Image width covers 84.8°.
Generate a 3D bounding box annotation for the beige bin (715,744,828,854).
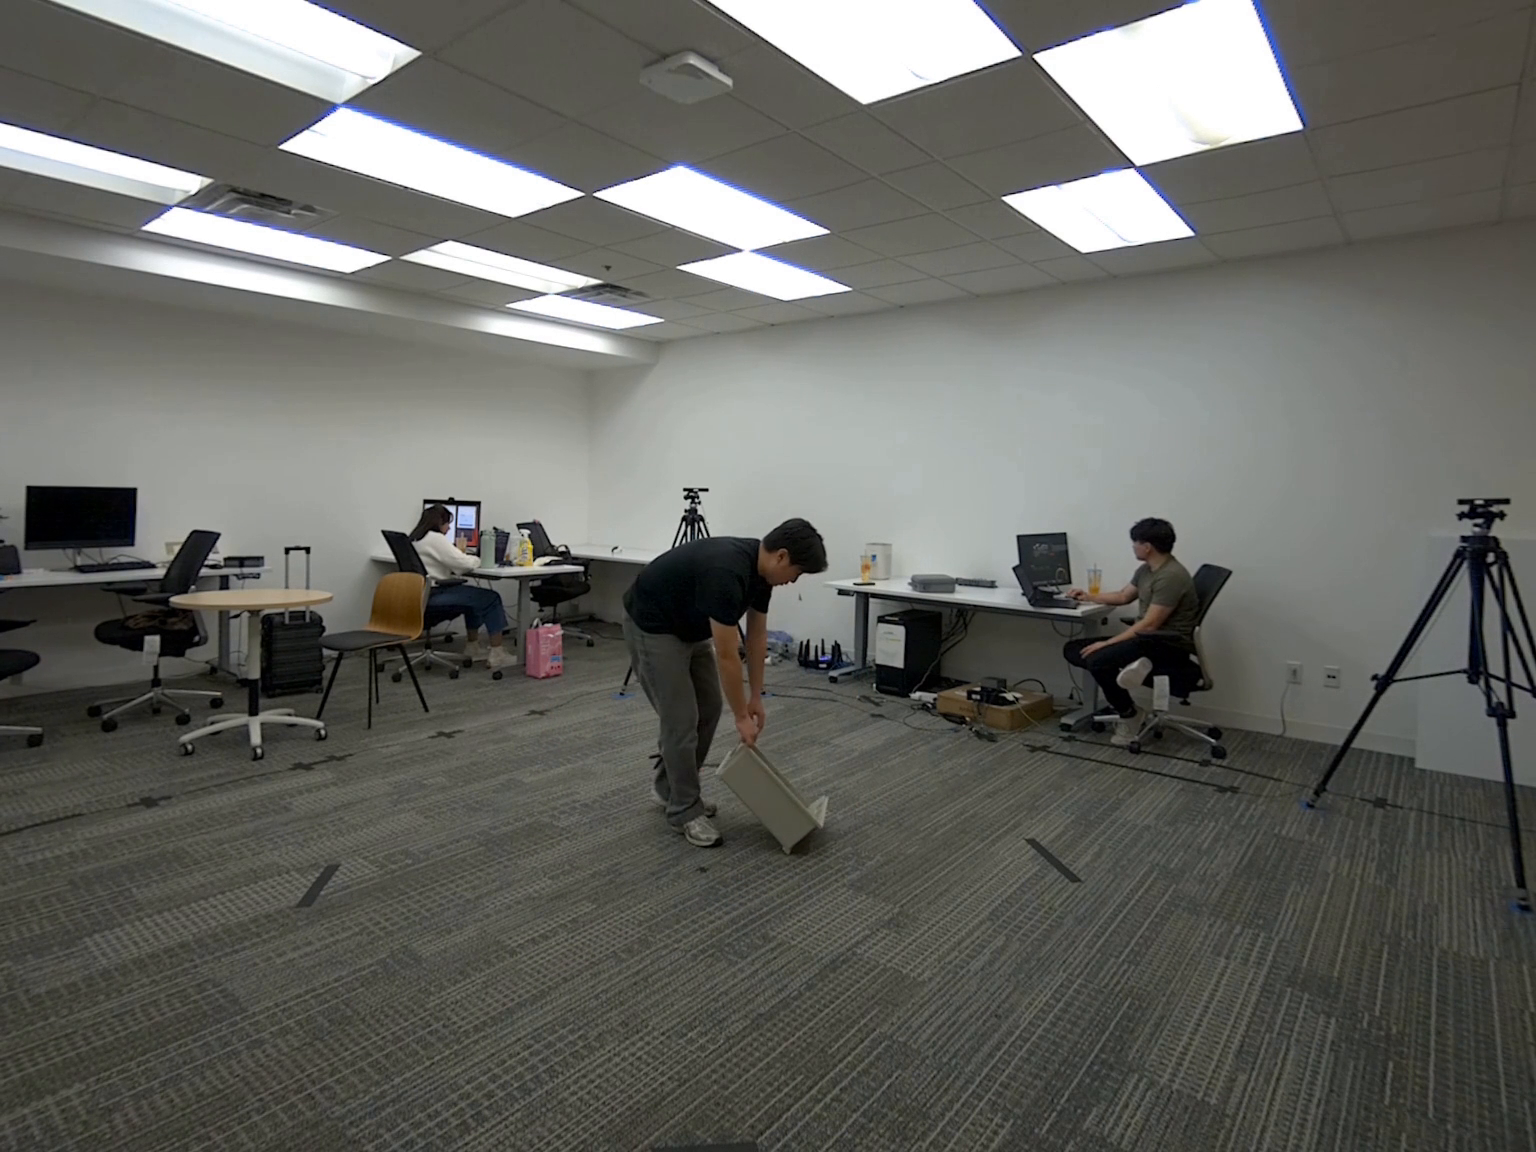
[{"bbox_3d":[0.013,0.835,3.420,0.426,0.189,0.374,46,10,5],"label":"beige bin"}]
